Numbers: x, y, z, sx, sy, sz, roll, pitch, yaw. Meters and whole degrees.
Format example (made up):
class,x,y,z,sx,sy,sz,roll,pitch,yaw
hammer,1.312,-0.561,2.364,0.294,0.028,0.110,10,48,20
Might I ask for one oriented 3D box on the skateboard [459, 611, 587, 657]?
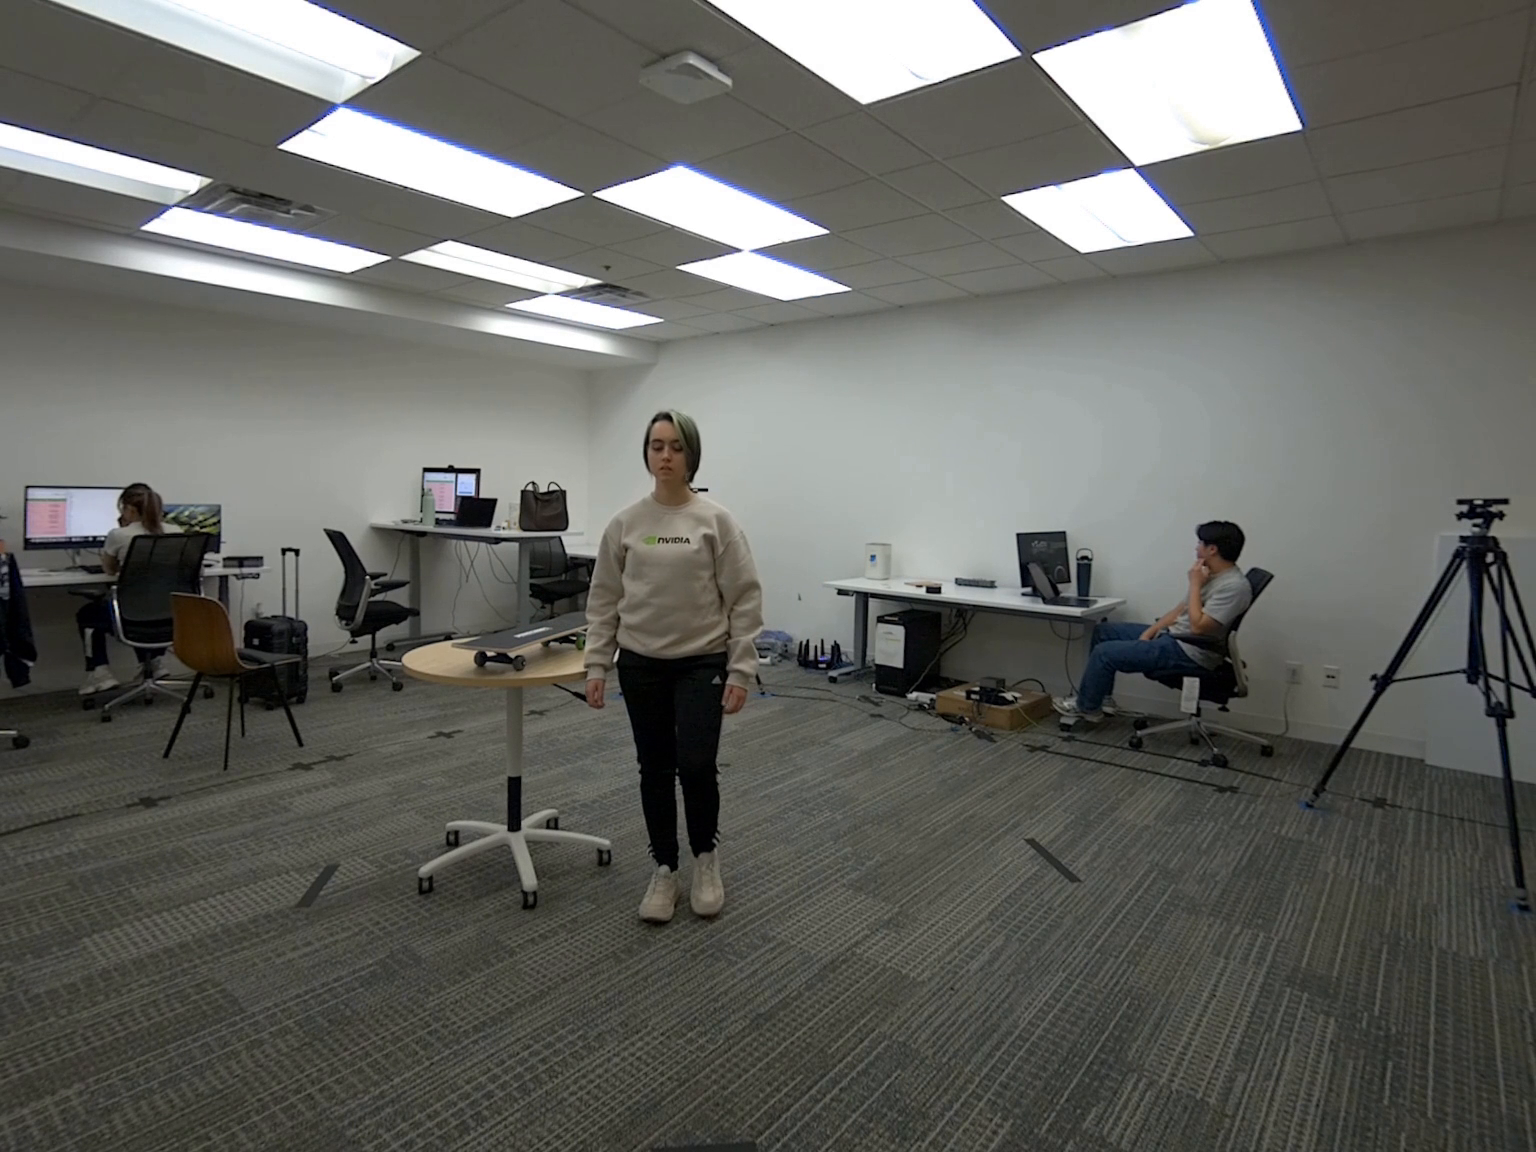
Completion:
class,x,y,z,sx,sy,sz,roll,pitch,yaw
skateboard,-0.845,0.236,3.015,0.197,0.110,0.773,5,7,17
